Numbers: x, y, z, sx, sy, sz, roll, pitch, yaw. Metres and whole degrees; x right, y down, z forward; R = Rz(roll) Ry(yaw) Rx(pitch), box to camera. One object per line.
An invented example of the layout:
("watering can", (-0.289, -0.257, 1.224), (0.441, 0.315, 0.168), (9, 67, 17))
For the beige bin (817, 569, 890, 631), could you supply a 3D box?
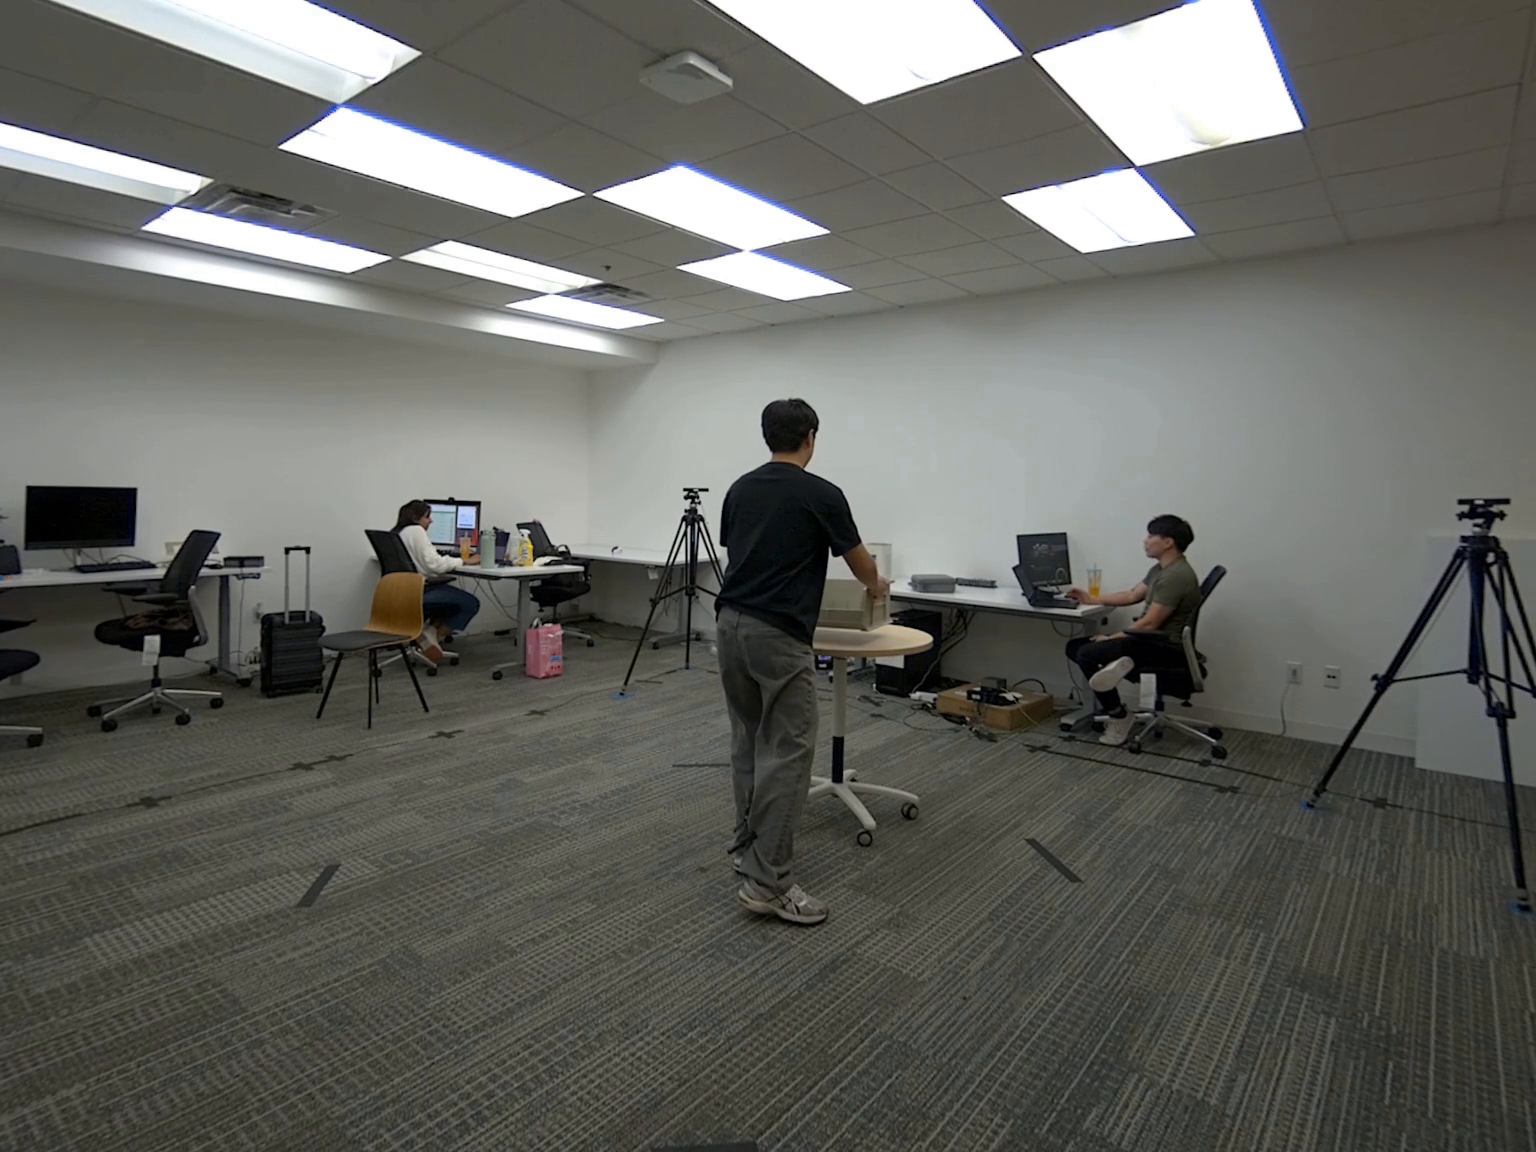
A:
("beige bin", (0.263, 0.114, 3.563), (0.434, 0.189, 0.367), (1, 3, 29))
